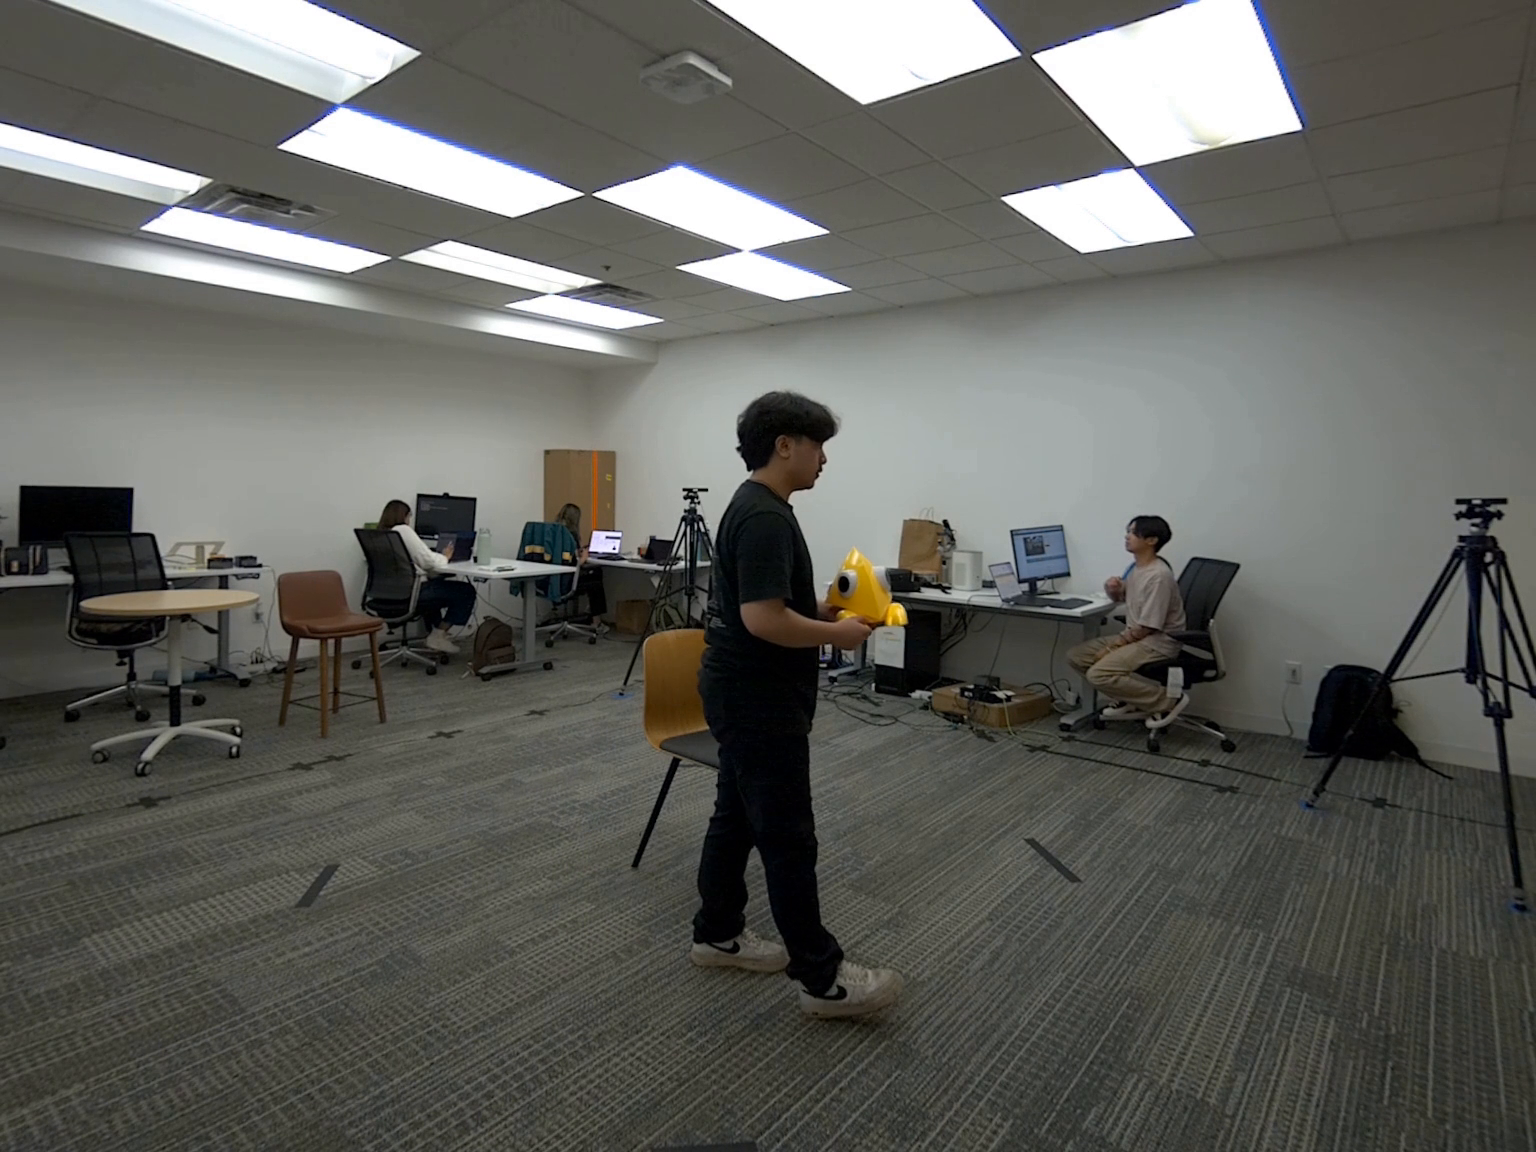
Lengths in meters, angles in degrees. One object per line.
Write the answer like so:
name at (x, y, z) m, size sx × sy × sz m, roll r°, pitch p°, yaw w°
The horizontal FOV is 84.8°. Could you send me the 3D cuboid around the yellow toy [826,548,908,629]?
yellow toy at (0.271, 0.030, 2.402) m, size 0.203 × 0.231 × 0.194 m, roll -7°, pitch -2°, yaw -9°
